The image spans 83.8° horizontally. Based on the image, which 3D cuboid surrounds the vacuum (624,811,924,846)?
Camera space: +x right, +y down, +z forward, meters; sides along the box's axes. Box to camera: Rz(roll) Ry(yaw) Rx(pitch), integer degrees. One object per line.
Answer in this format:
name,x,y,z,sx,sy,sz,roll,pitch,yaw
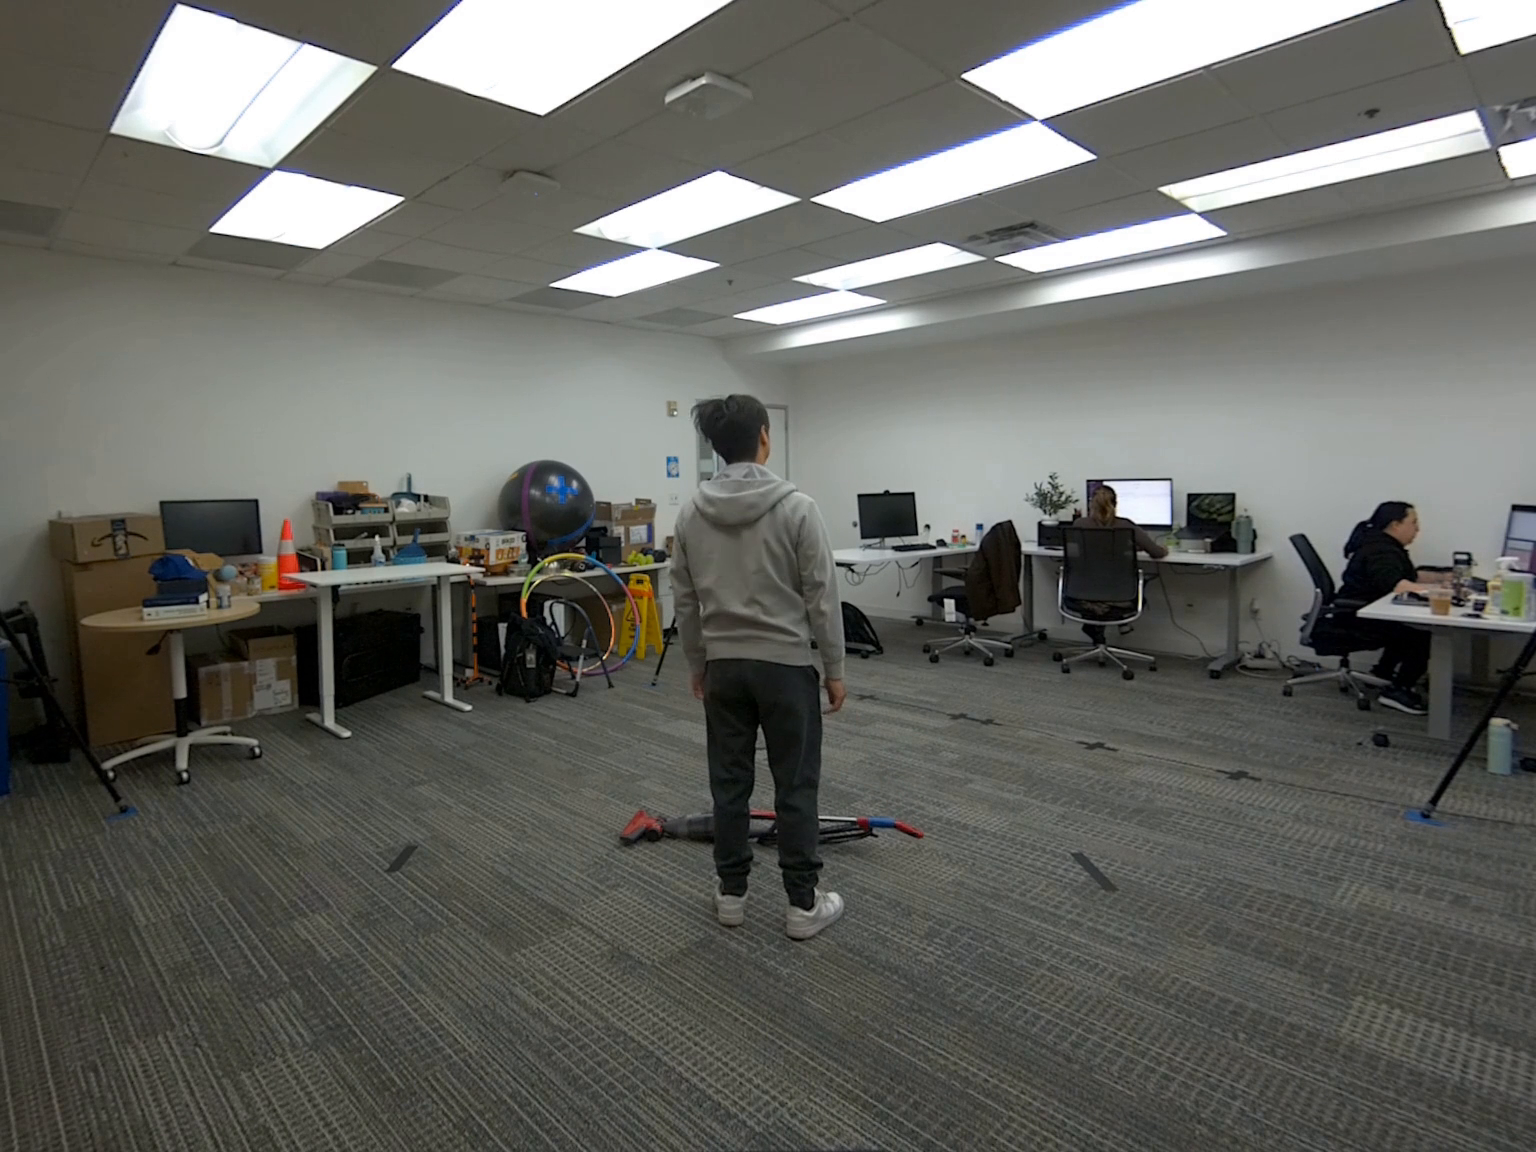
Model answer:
vacuum,0.032,0.962,3.257,1.059,0.143,0.251,-2,6,10
